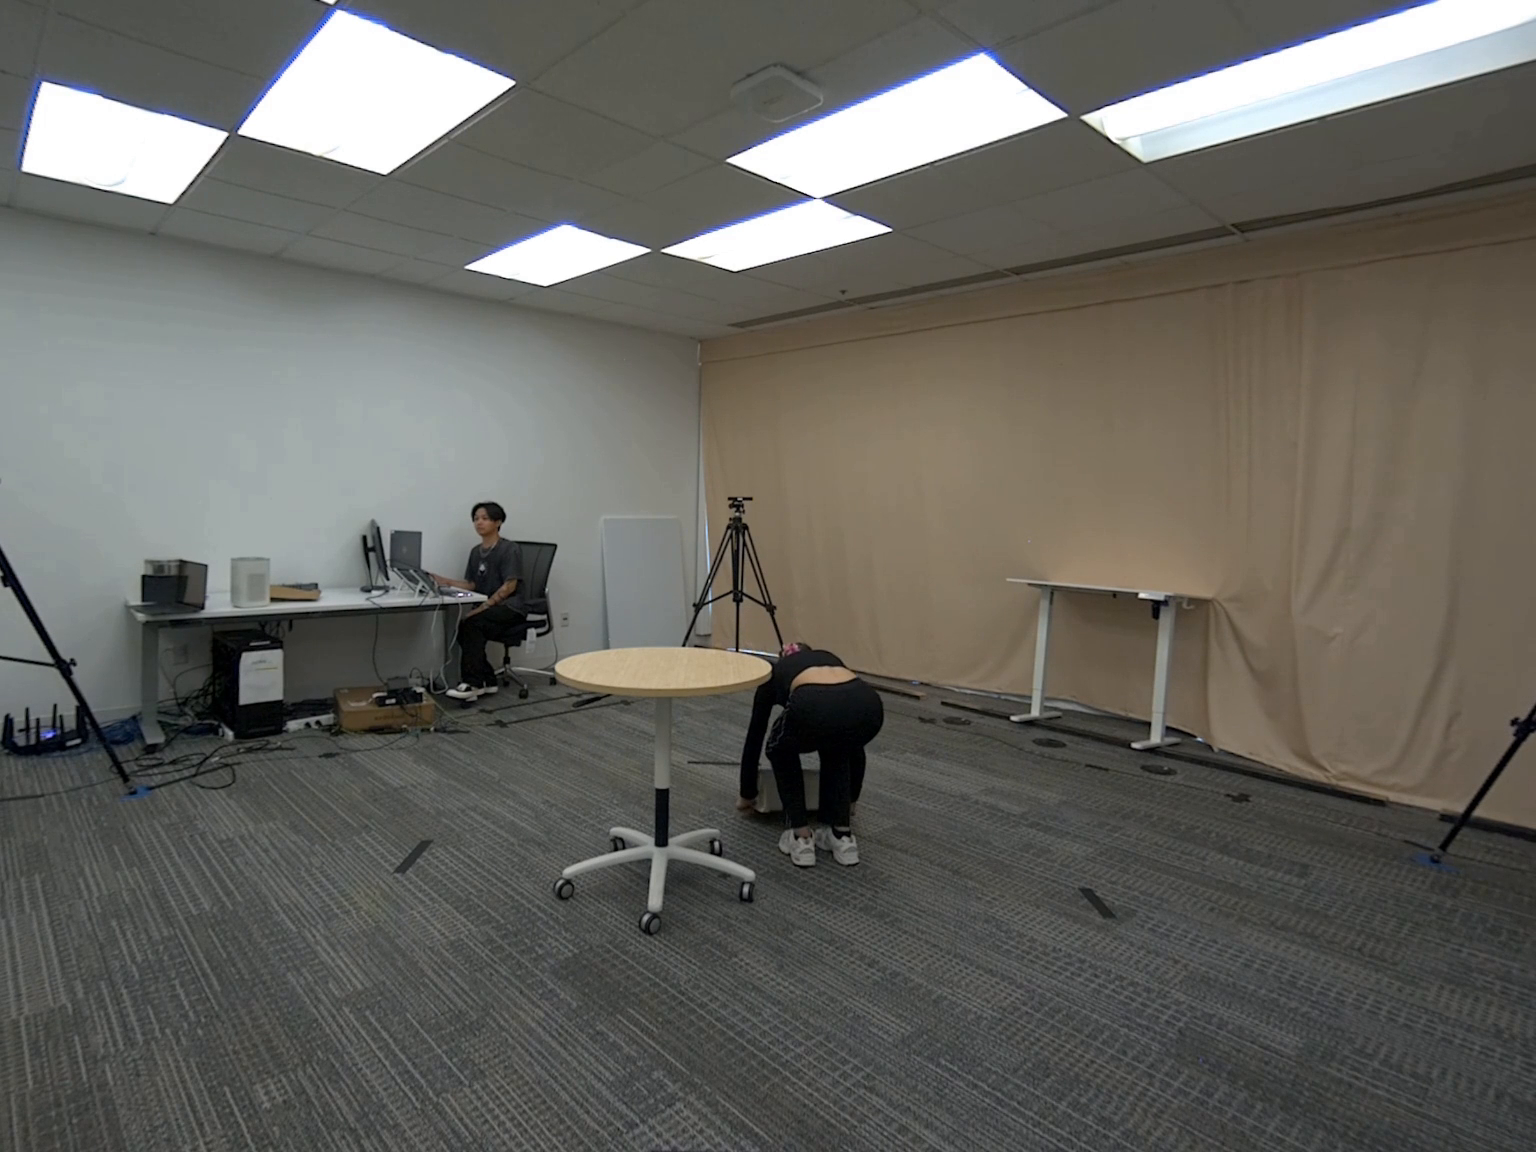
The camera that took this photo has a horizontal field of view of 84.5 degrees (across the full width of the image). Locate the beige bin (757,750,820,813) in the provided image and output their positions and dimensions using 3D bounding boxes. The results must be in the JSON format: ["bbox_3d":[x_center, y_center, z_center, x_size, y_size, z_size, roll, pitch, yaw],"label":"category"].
[{"bbox_3d":[0.118,0.932,3.765,0.417,0.190,0.380,3,-6,-16],"label":"beige bin"}]
